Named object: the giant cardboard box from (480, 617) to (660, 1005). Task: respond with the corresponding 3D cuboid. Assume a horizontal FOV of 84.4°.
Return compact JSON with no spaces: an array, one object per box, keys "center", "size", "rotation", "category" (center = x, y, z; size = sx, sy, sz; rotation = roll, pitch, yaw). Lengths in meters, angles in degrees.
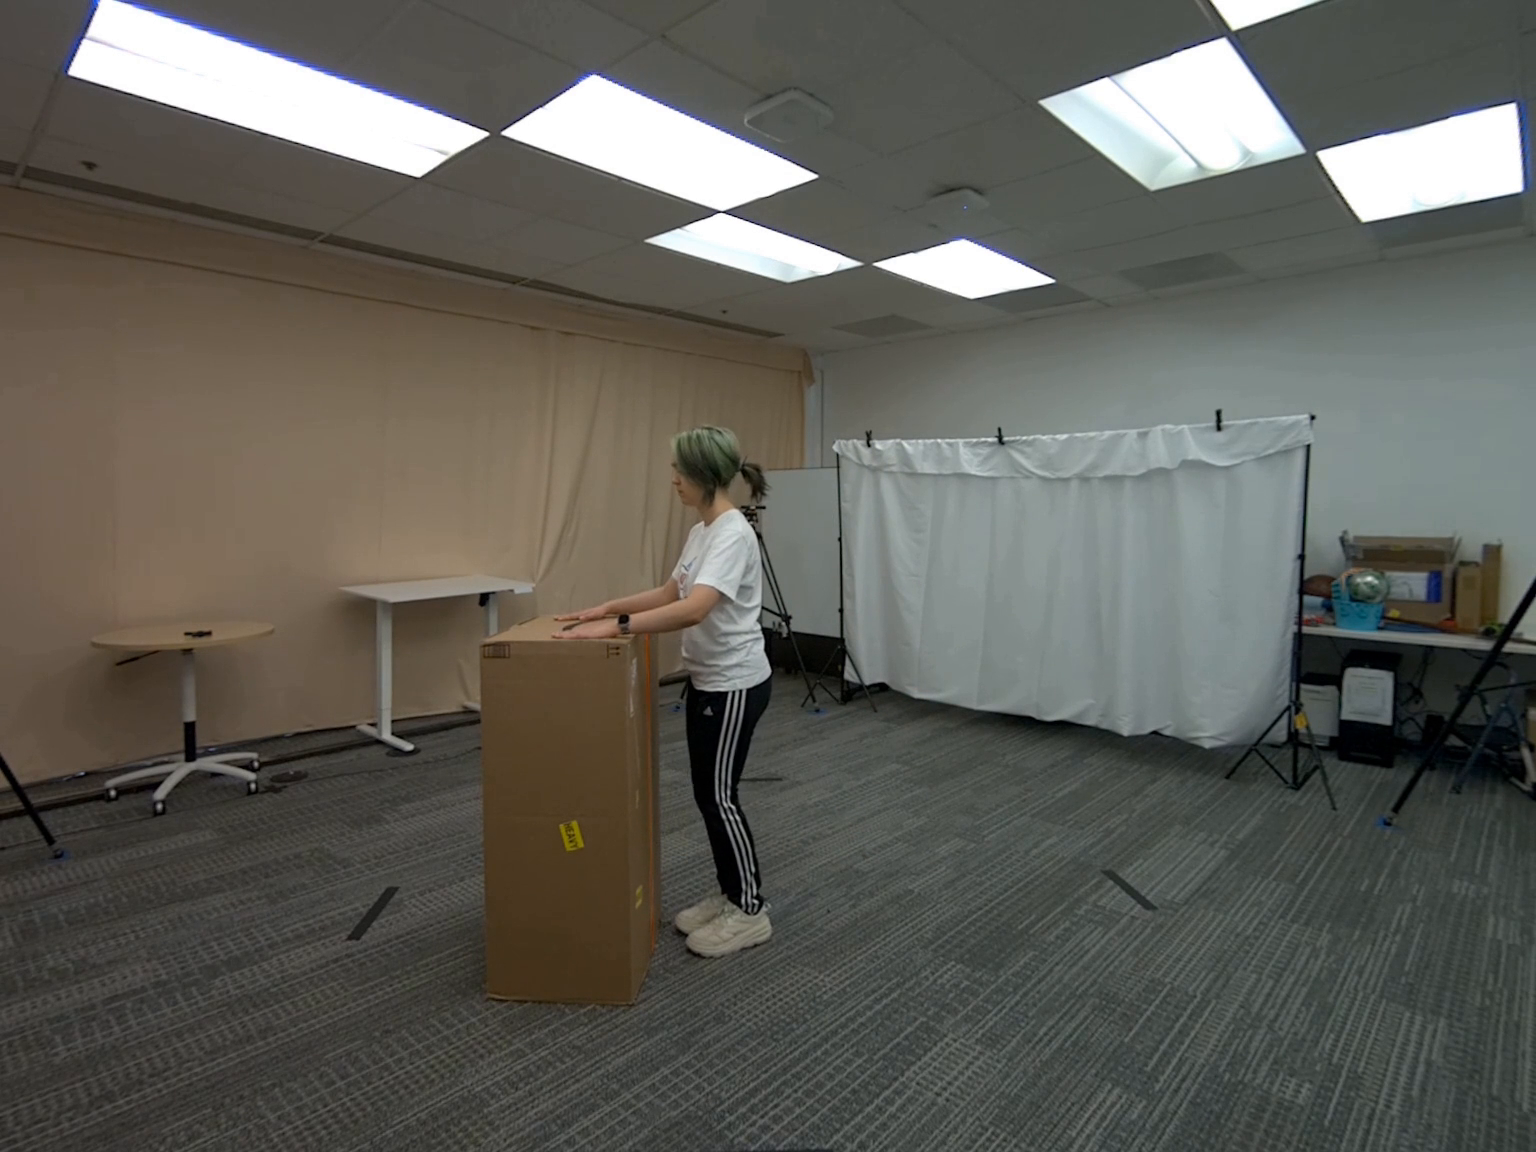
[{"center":[-0.584,0.673,2.620],"size":[0.448,1.025,0.583],"rotation":[-1,2,2],"category":"giant cardboard box"}]
